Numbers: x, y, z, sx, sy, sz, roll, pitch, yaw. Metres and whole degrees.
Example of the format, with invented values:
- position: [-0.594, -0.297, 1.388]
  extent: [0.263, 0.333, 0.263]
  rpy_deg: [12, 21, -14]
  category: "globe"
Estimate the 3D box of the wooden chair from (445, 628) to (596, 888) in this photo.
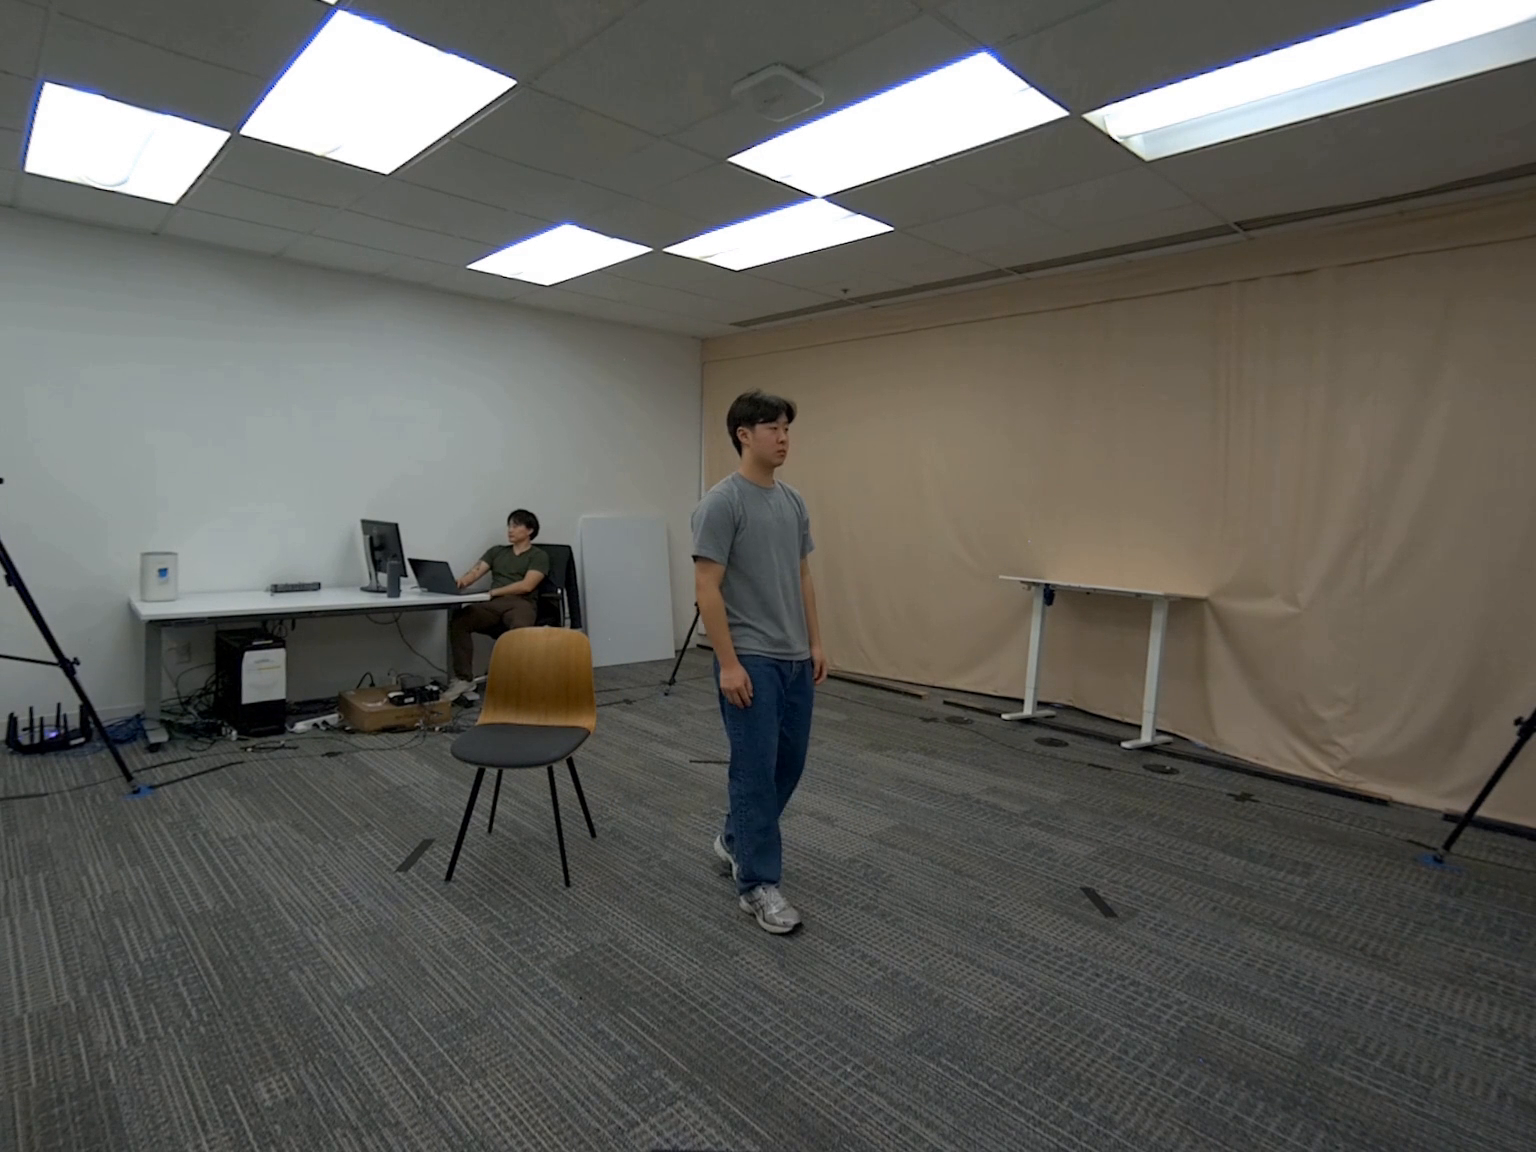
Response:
- position: [-0.914, 0.654, 3.176]
  extent: [0.479, 0.877, 0.522]
  rpy_deg: [2, 0, 1]
  category: "wooden chair"
